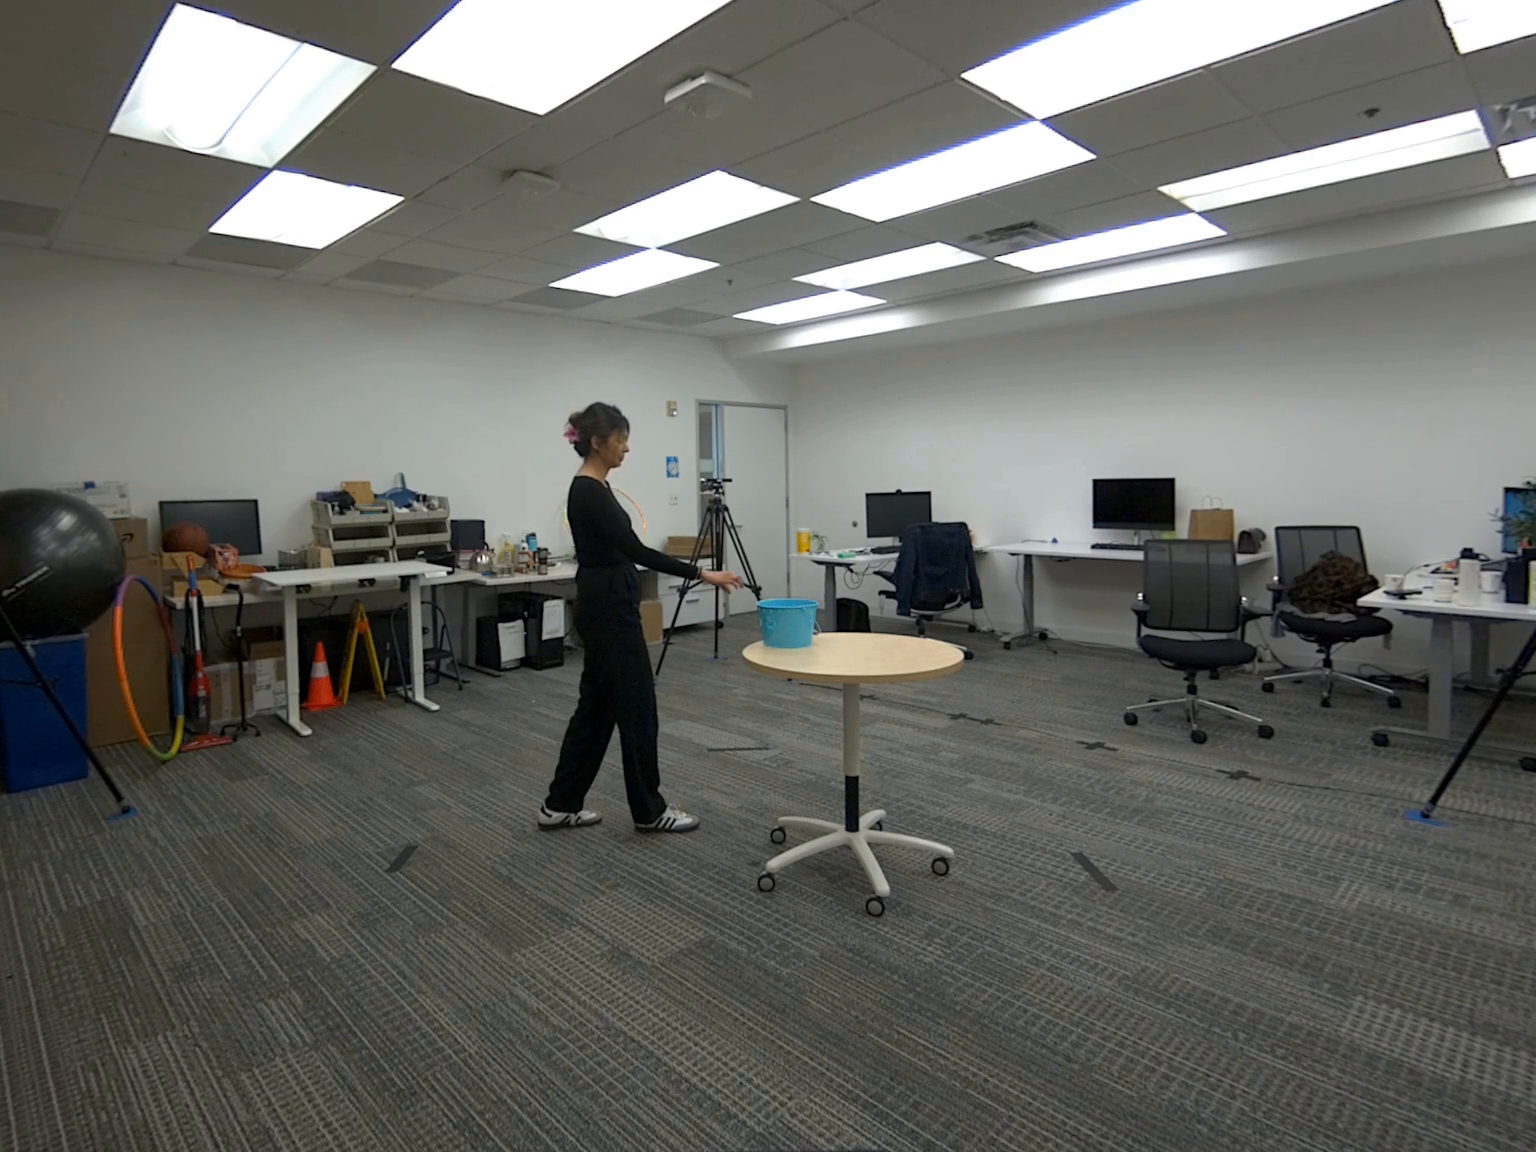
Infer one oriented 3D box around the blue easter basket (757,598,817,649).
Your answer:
[{"bbox_3d":[0.082,0.181,3.167,0.243,0.155,0.245,-4,7,-1],"label":"blue easter basket"}]
